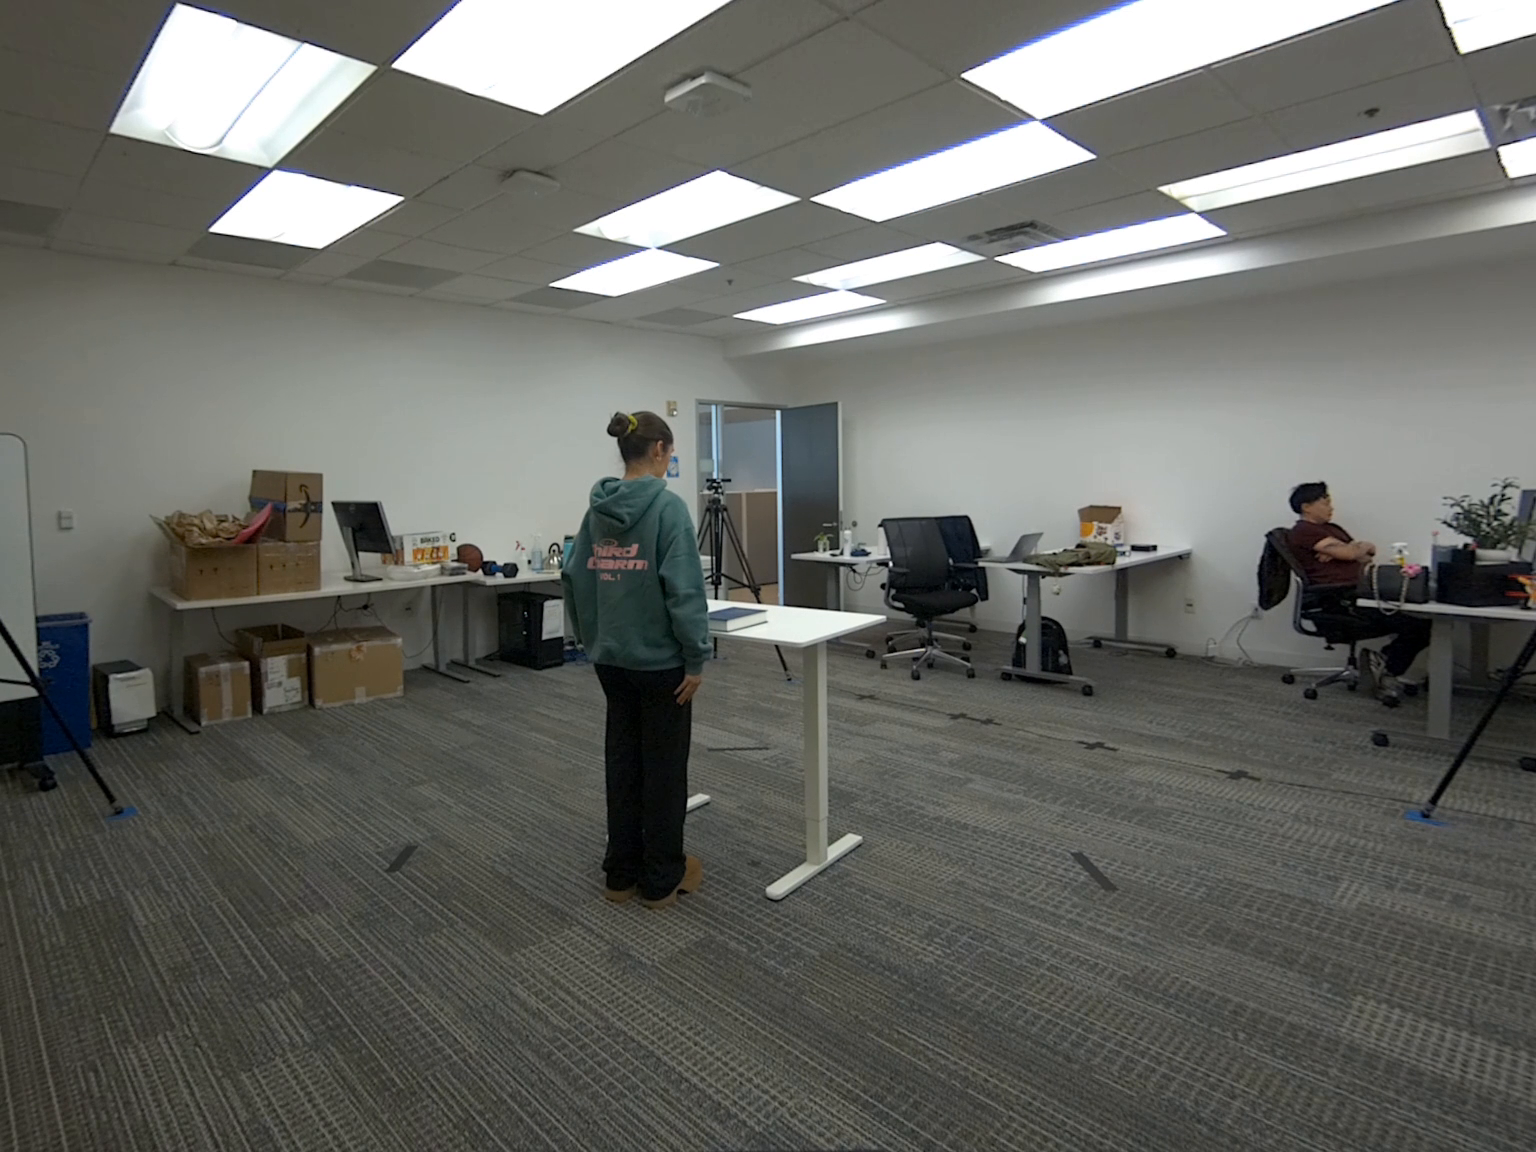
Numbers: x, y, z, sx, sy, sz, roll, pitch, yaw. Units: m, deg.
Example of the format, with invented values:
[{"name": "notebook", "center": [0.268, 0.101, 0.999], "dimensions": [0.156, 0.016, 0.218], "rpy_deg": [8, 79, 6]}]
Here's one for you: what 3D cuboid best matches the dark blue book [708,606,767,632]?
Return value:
[{"name": "dark blue book", "center": [-0.129, 0.154, 3.026], "dimensions": [0.168, 0.045, 0.239], "rpy_deg": [3, 8, 33]}]
